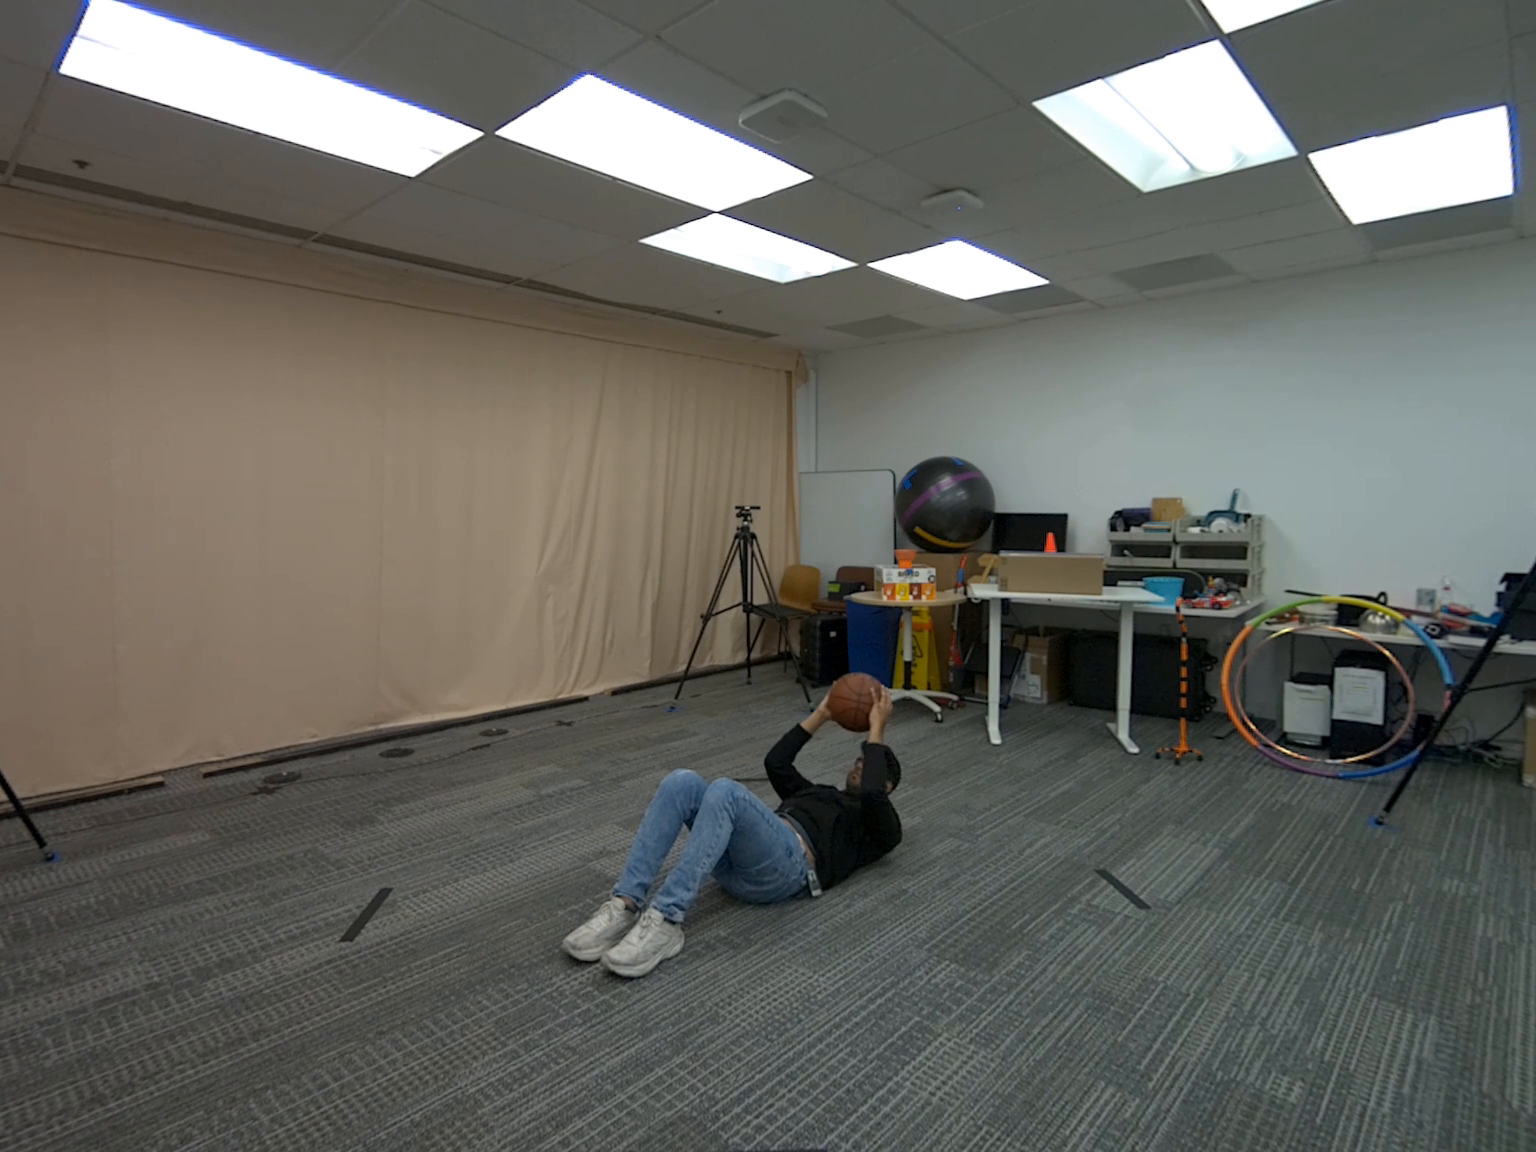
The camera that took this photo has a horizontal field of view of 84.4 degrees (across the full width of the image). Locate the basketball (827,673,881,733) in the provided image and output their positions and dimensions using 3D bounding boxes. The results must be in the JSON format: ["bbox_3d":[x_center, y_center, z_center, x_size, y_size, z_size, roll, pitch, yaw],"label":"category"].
[{"bbox_3d":[0.360,0.525,3.406,0.236,0.235,0.237,0,4,-2],"label":"basketball"}]
